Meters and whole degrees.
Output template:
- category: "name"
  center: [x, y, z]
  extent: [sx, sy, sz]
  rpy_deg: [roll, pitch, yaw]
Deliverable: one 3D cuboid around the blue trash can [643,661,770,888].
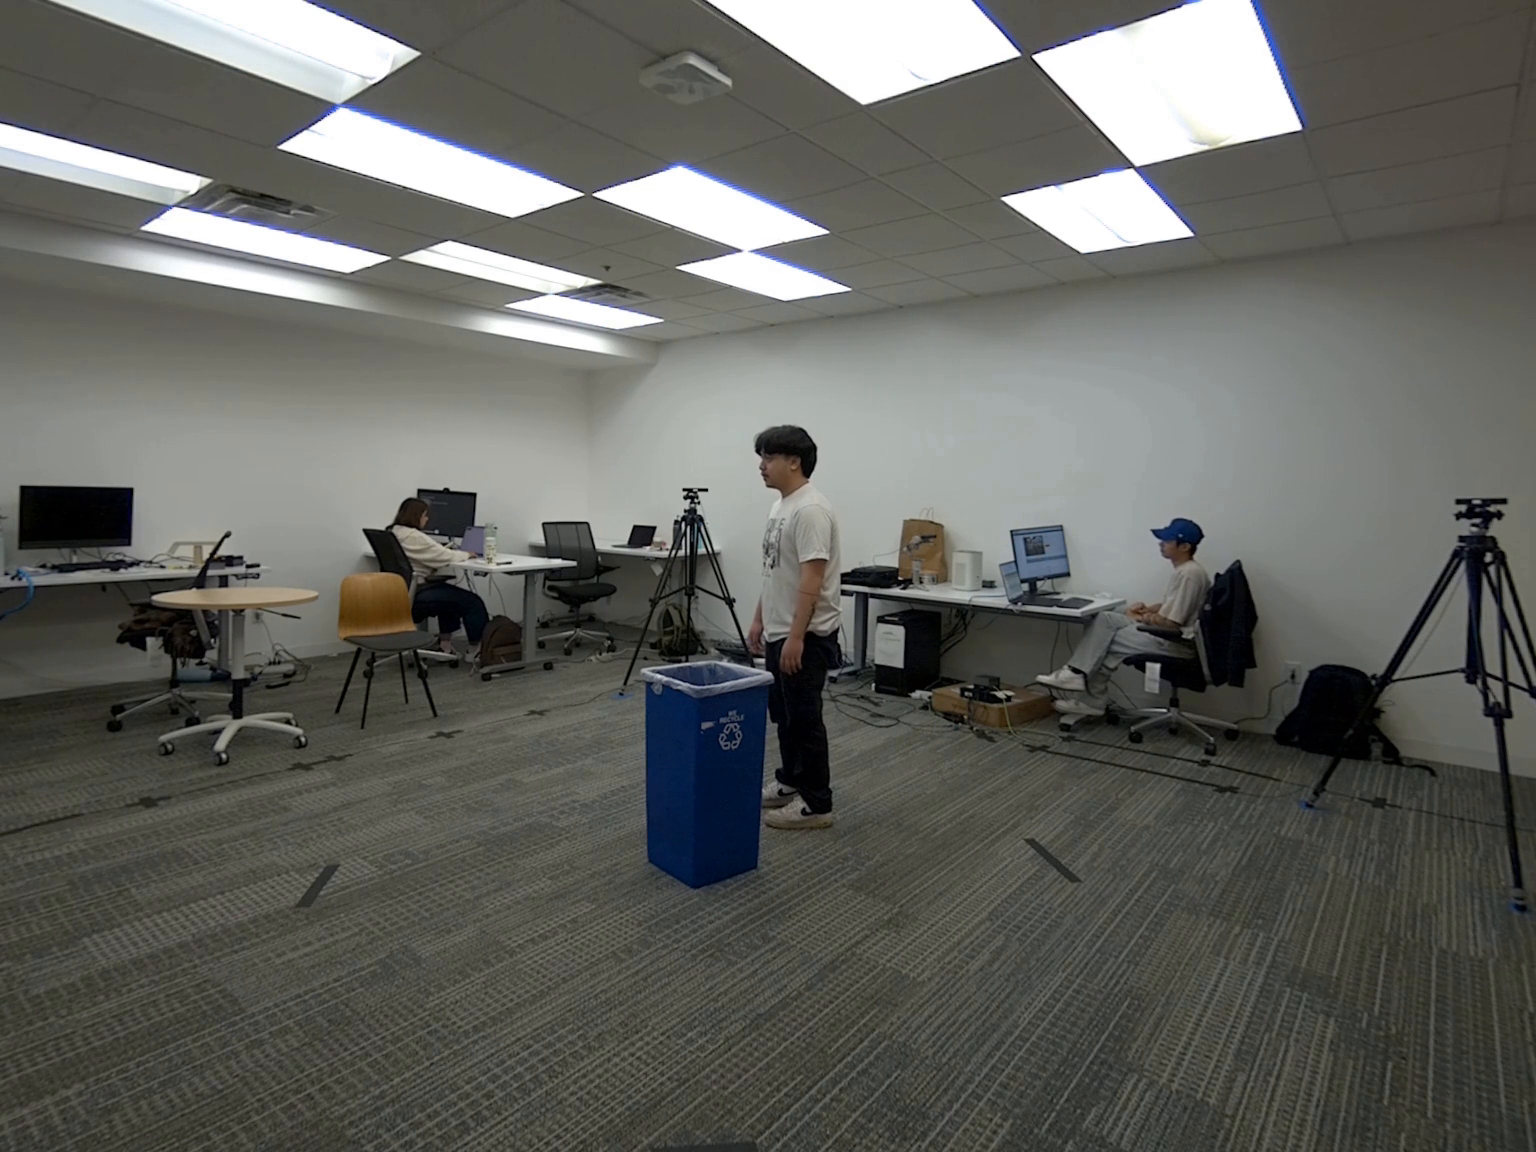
- category: "blue trash can"
  center: [-0.241, 0.707, 3.143]
  extent: [0.363, 0.711, 0.391]
  rpy_deg: [-2, 4, -41]
